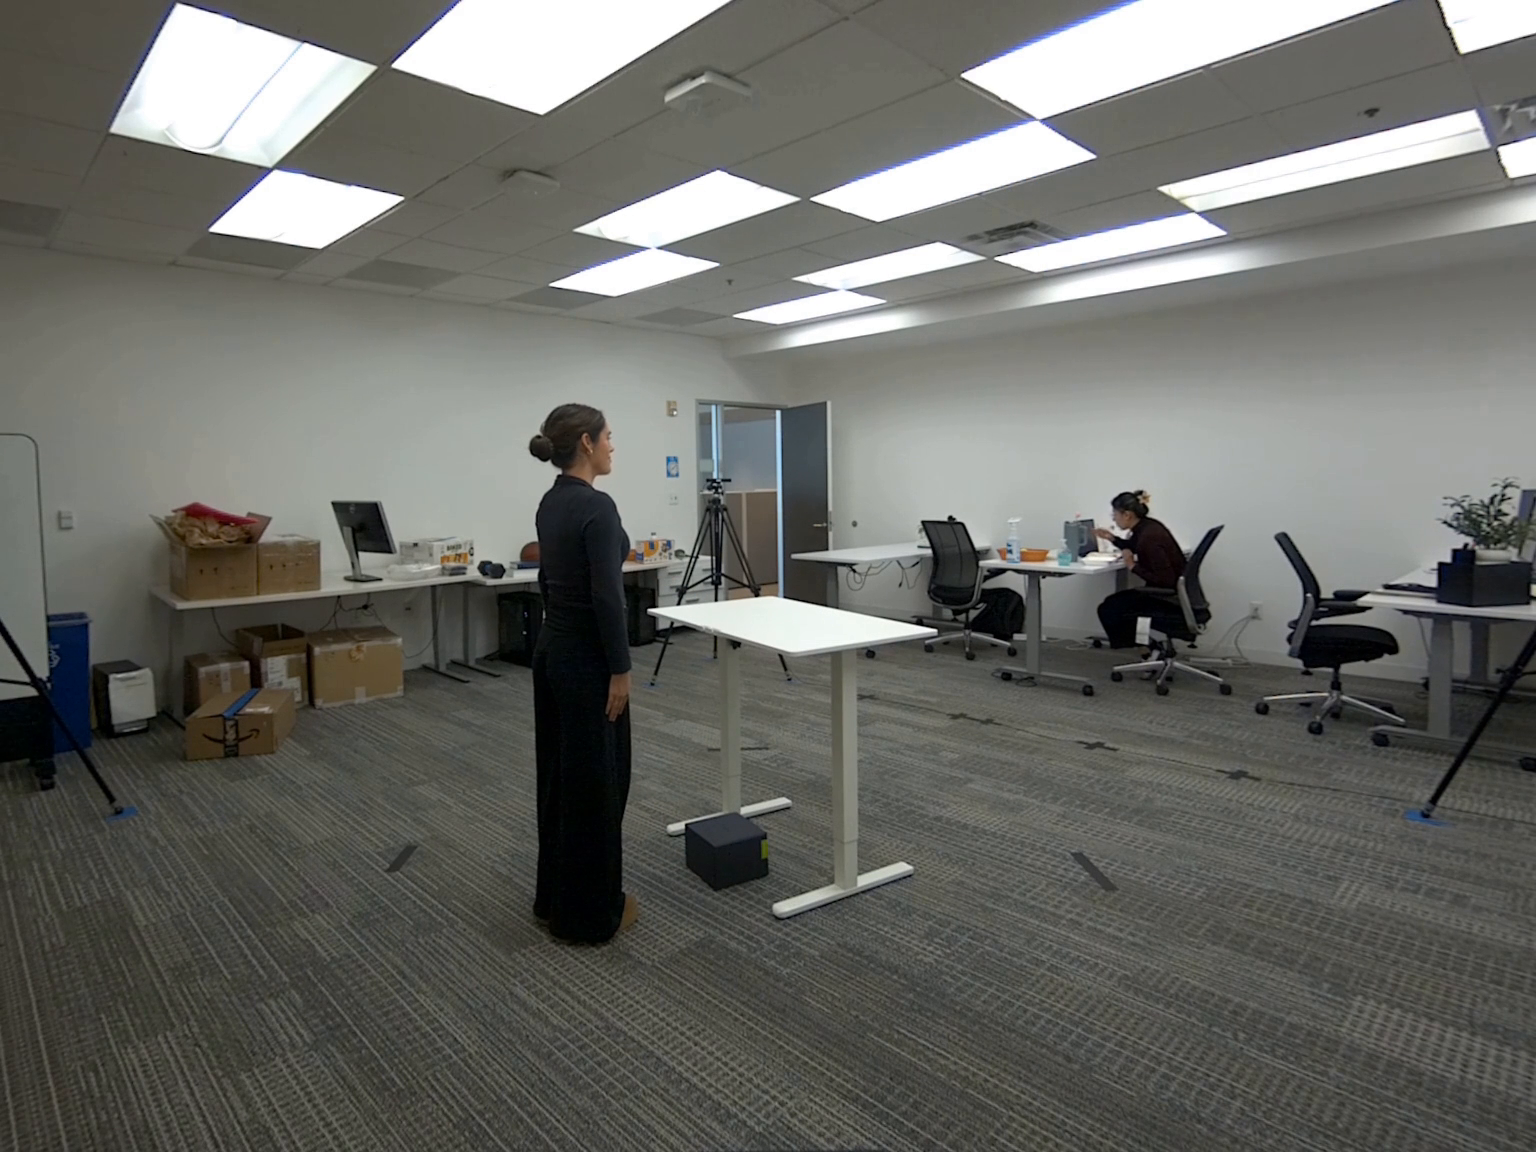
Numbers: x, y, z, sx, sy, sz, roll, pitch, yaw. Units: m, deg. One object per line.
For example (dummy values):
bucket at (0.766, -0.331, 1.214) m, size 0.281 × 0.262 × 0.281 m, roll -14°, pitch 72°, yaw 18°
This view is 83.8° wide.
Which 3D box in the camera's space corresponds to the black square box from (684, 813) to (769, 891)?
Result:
black square box at (-0.146, 0.971, 3.041) m, size 0.212 × 0.155 × 0.234 m, roll -4°, pitch 6°, yaw -30°
